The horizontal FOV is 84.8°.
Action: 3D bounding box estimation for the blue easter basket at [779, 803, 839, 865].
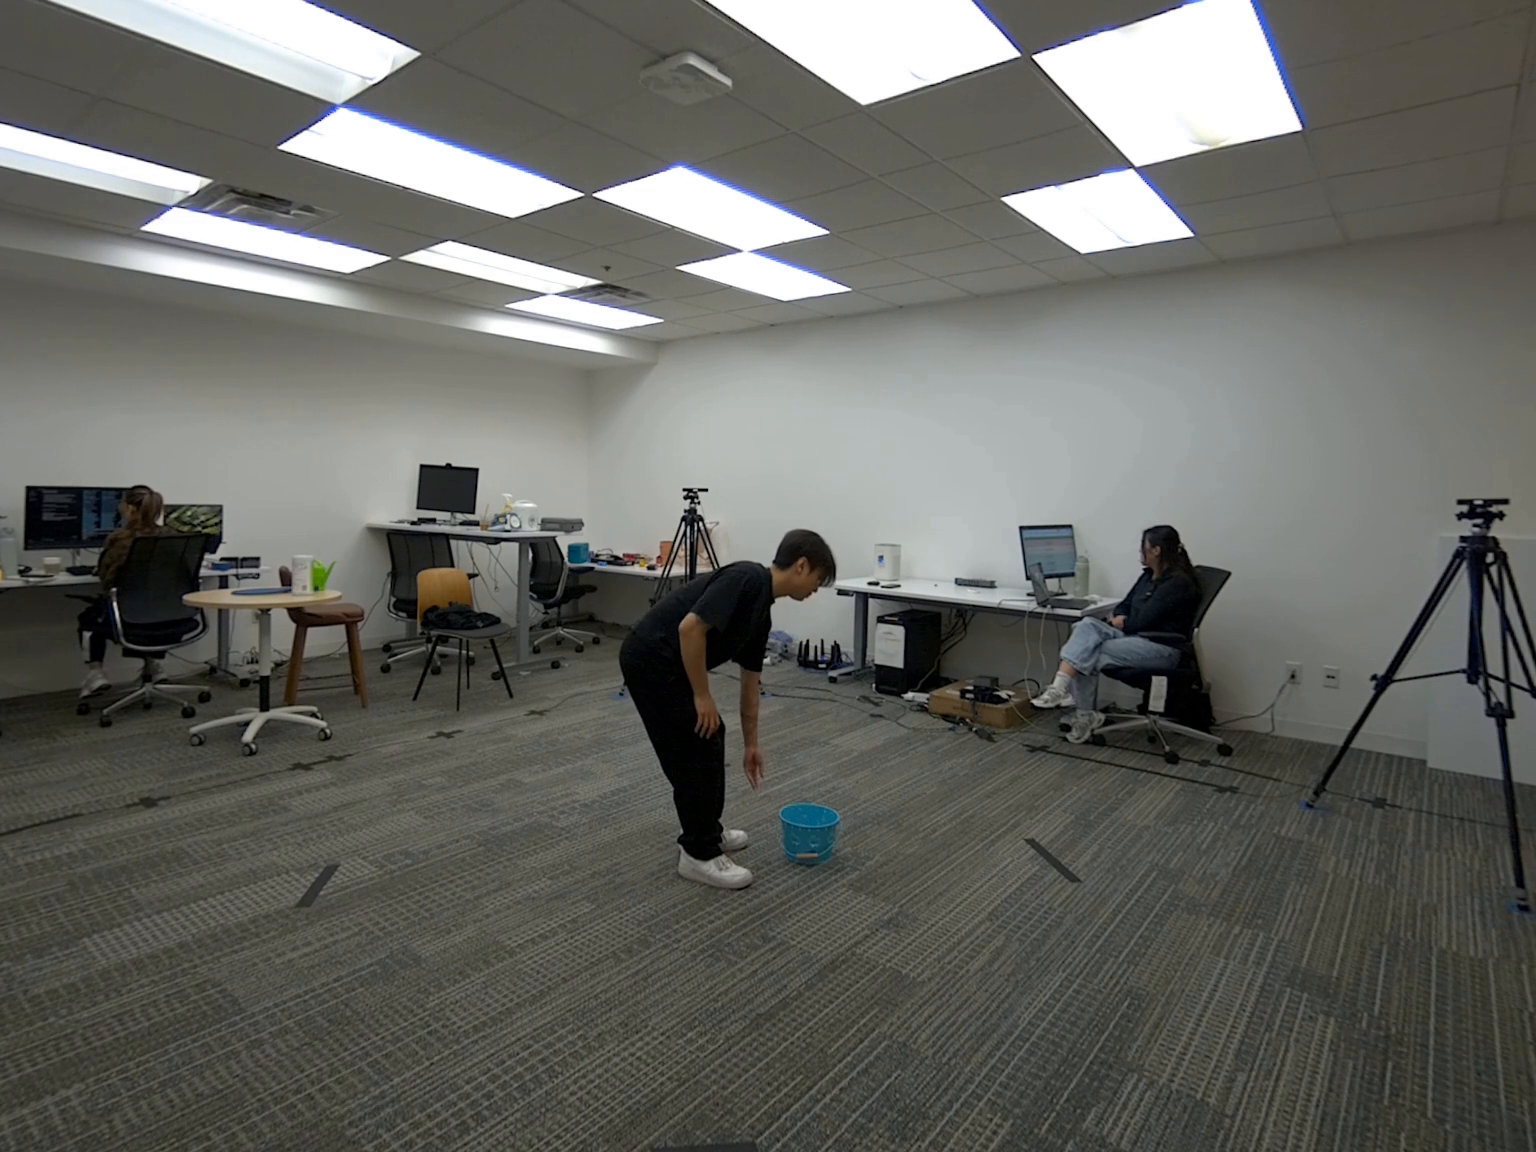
[{"bbox_3d":[0.144,0.984,3.261,0.243,0.155,0.245,1,5,-2],"label":"blue easter basket"}]
